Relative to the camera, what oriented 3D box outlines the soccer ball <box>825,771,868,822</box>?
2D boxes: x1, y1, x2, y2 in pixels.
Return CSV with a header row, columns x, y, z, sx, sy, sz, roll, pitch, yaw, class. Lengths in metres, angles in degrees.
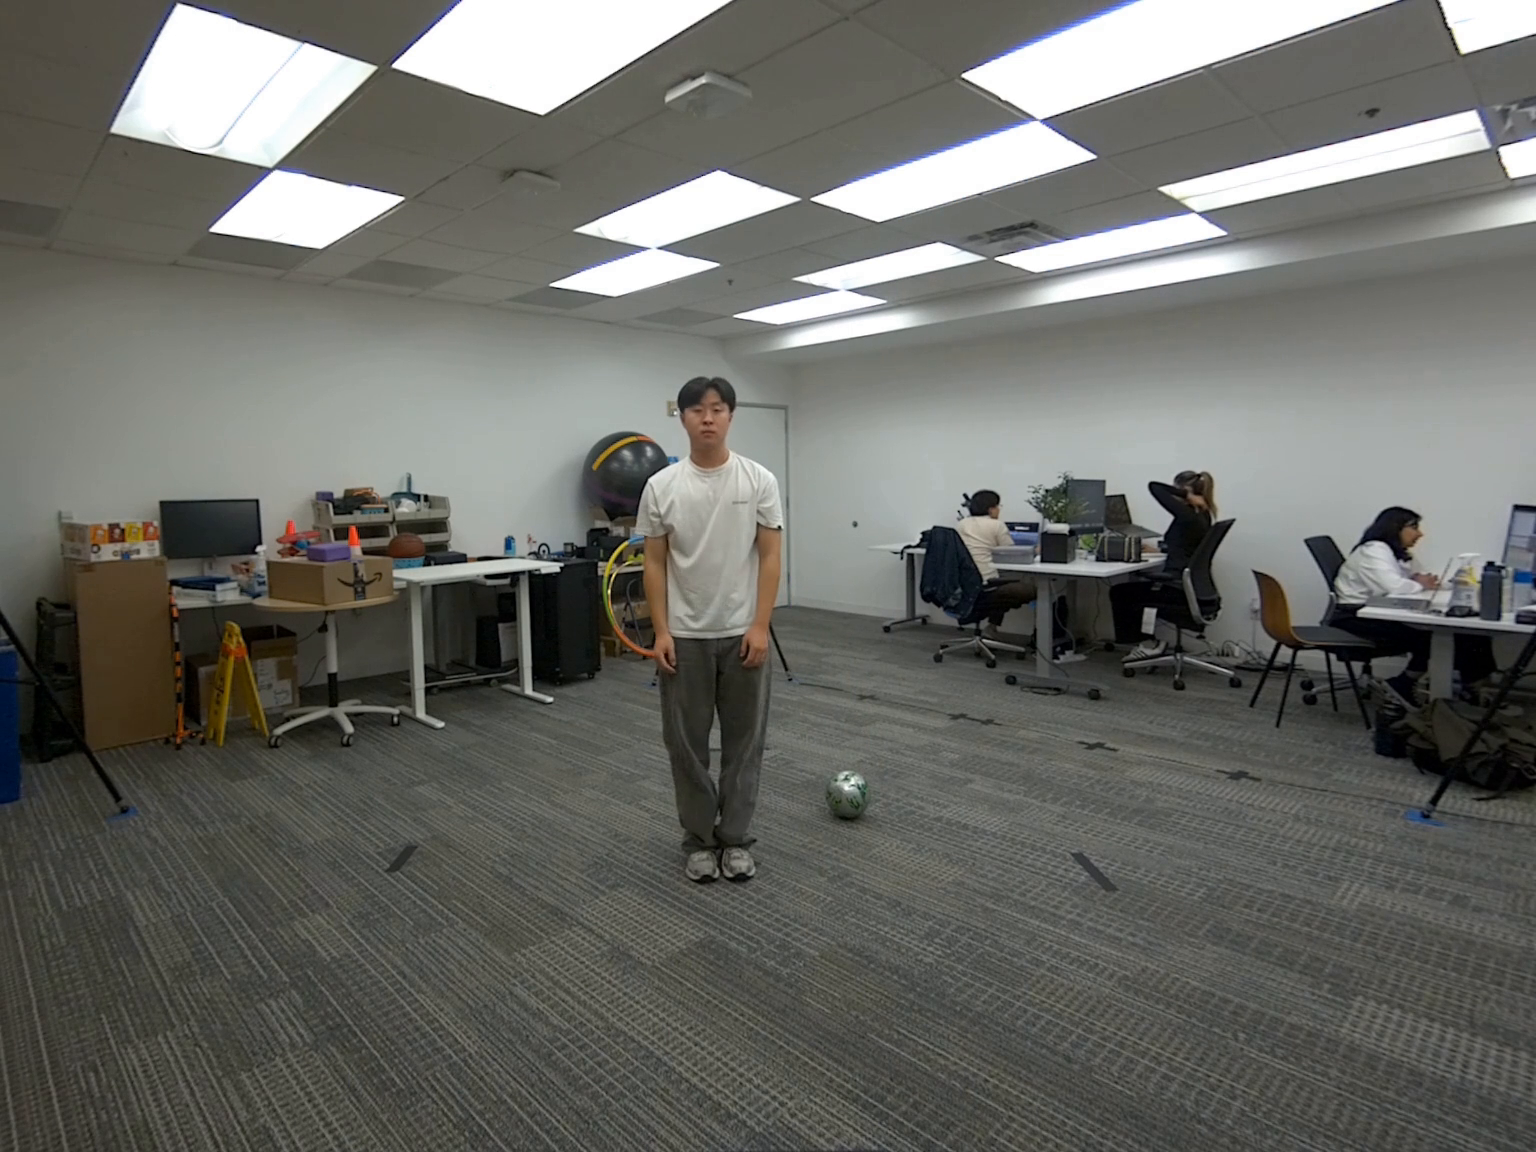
x,y,z,sx,sy,sz,roll,pitch,yaw,class
0.326,0.899,3.516,0.187,0.187,0.188,-1,5,-2,soccer ball
